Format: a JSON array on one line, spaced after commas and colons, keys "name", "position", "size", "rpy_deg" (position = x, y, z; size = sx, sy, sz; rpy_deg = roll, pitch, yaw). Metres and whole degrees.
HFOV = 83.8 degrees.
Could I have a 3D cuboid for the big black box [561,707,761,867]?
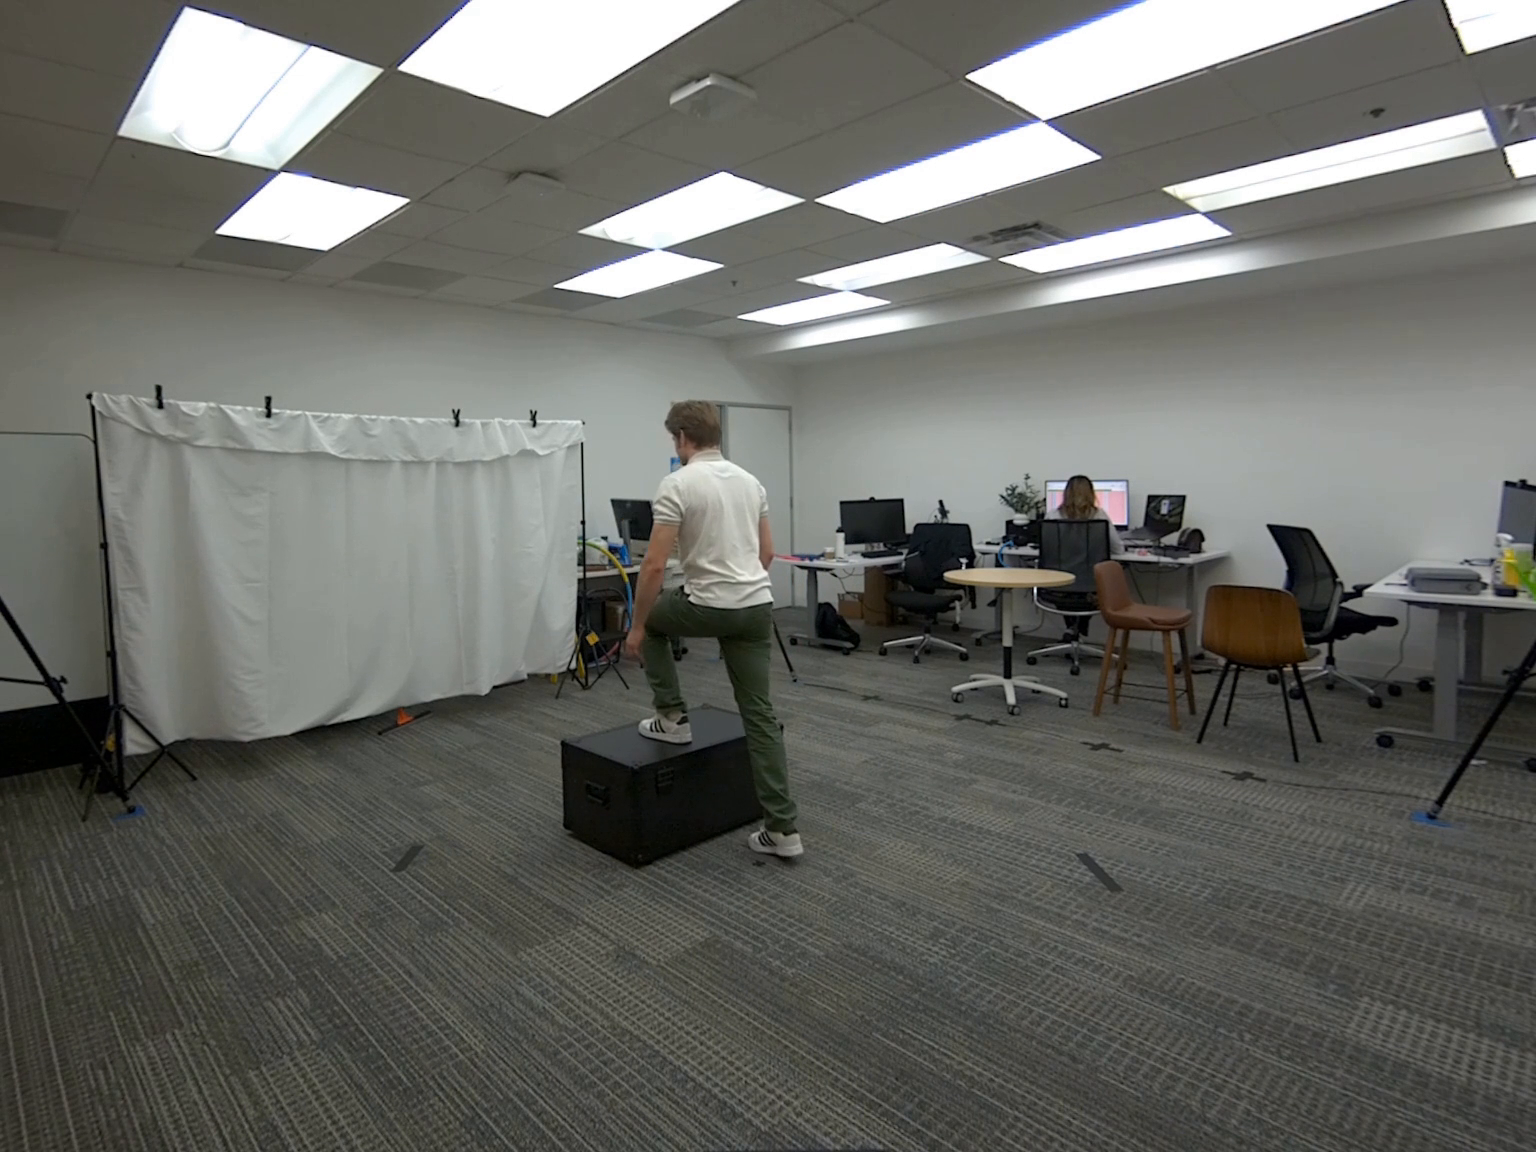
[{"name": "big black box", "position": [-0.346, 0.817, 3.507], "size": [0.845, 0.384, 0.539], "rpy_deg": [-6, 6, -44]}]
